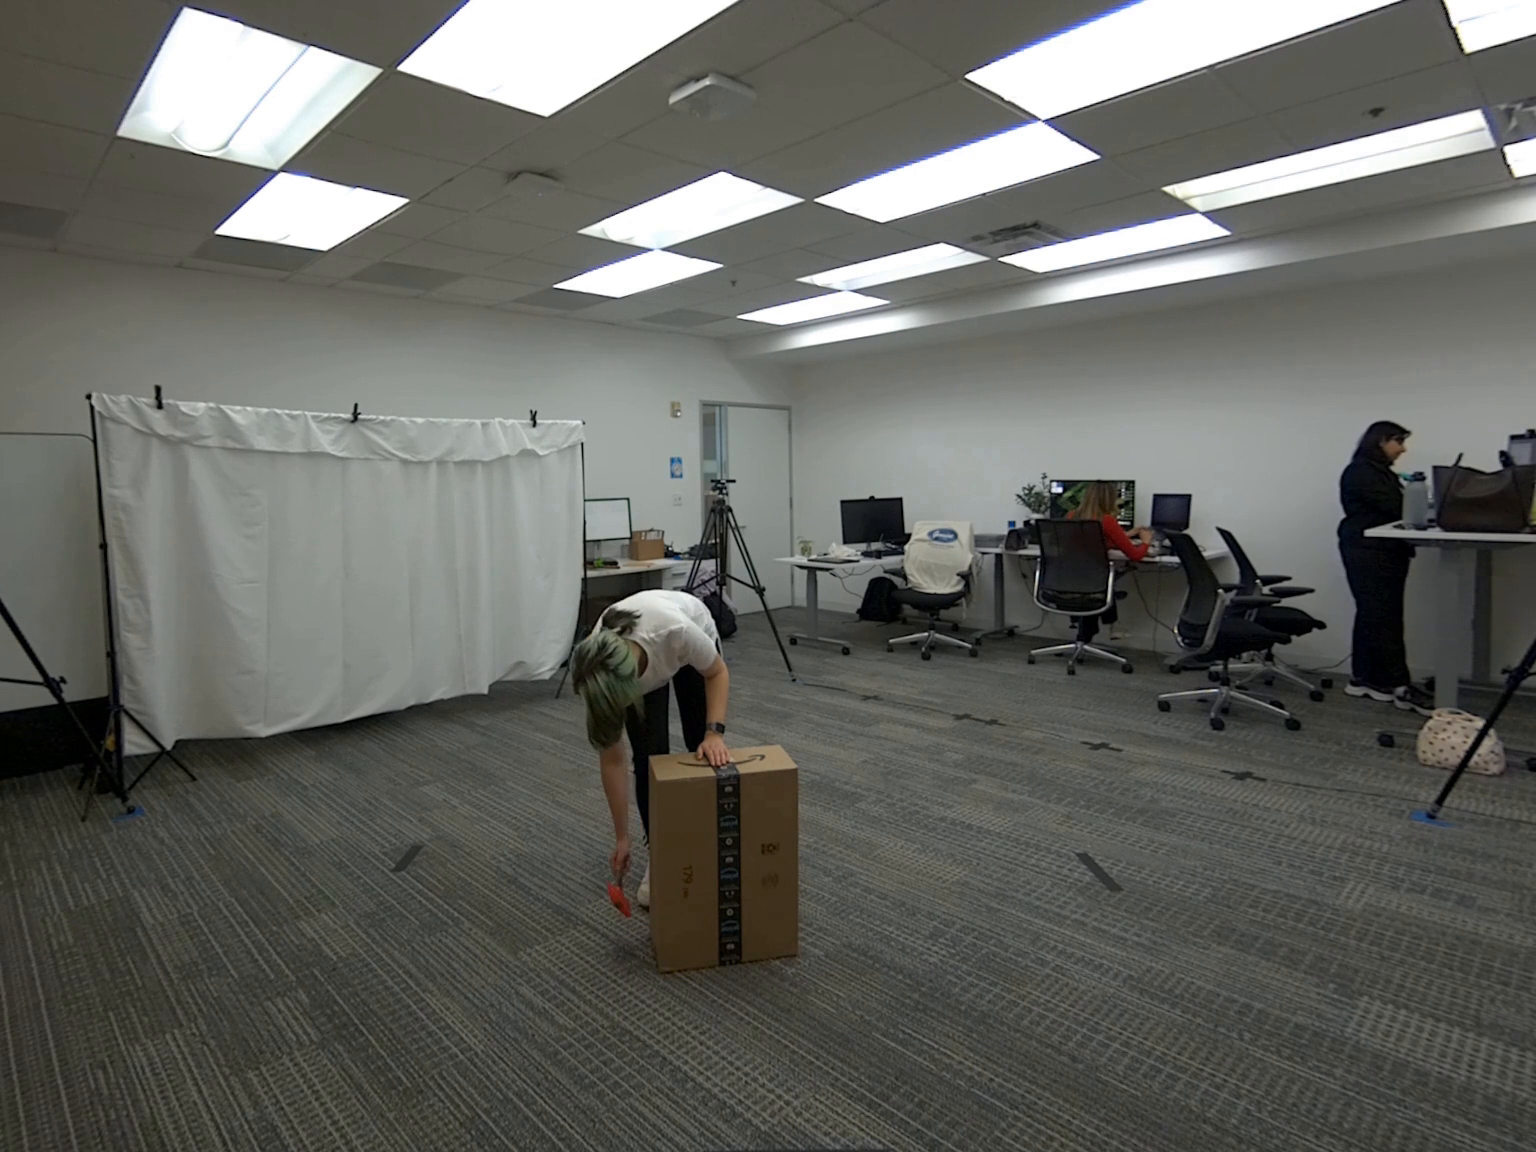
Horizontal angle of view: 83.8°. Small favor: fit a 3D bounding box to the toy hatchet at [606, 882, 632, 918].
[{"bbox_3d":[-0.414,0.933,2.564,0.029,0.132,0.268,-30,-3,4],"label":"toy hatchet"}]
